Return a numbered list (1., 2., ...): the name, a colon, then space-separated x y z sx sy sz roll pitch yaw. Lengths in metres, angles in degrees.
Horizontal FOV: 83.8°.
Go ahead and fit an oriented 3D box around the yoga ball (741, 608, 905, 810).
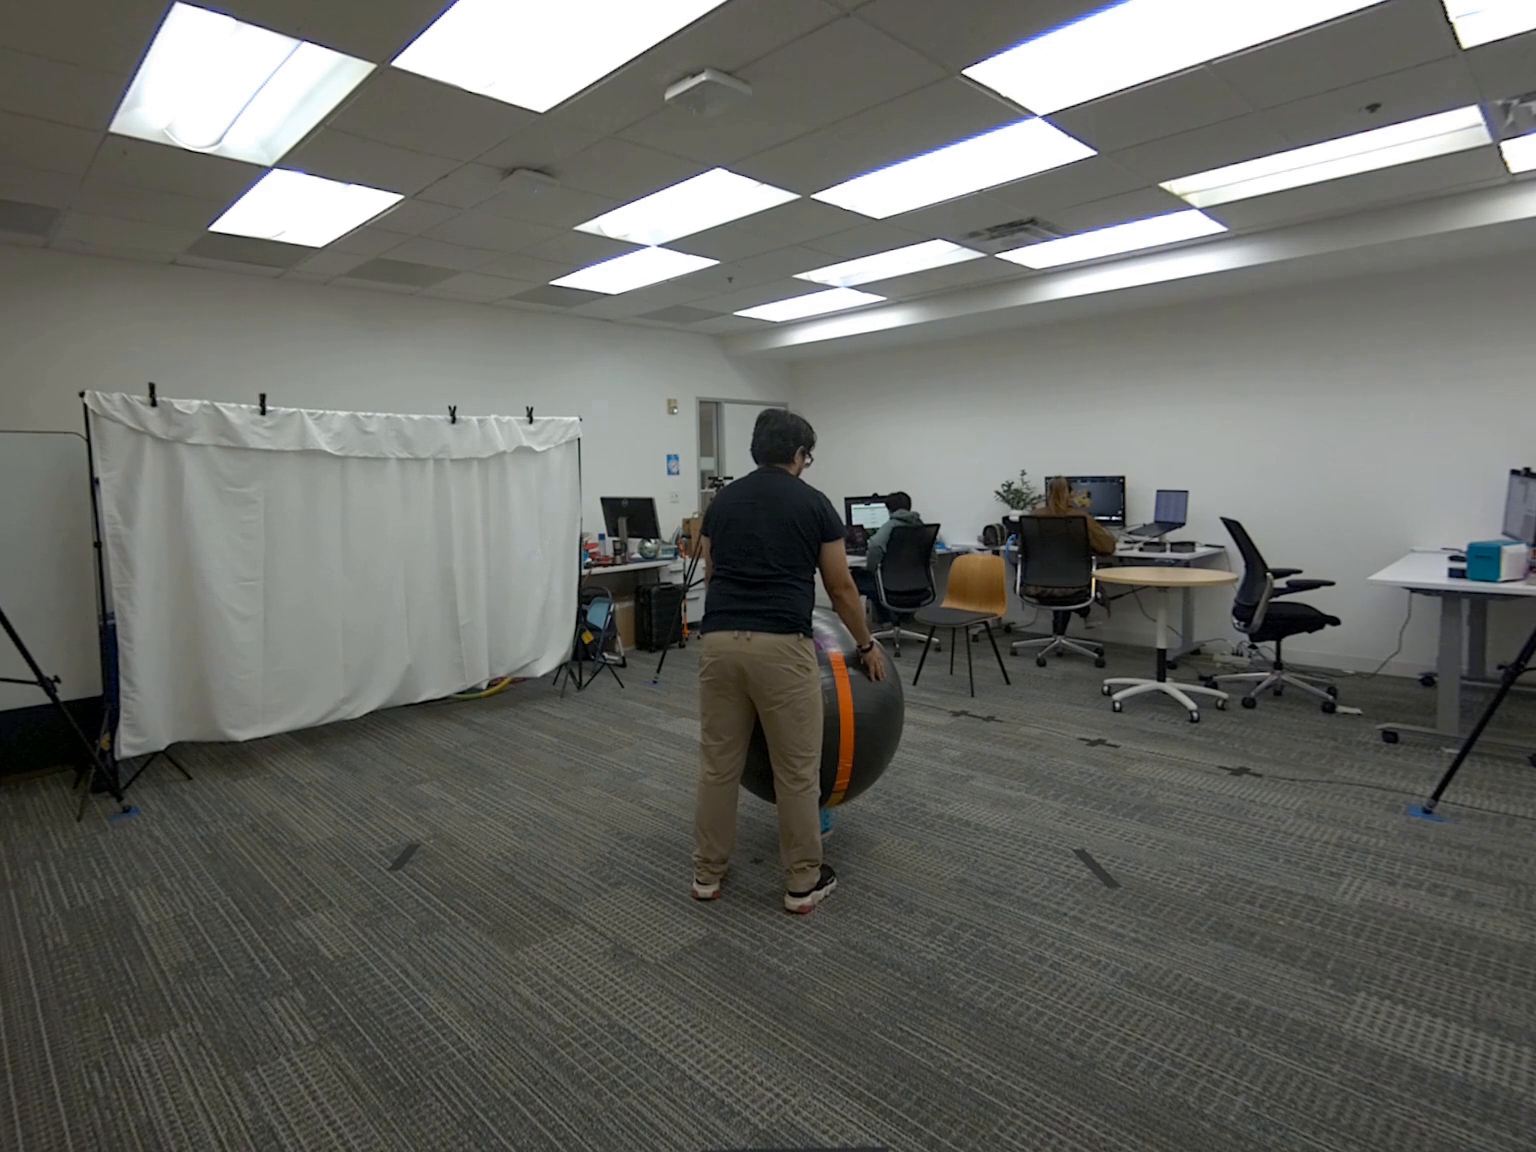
1. yoga ball: 0.145 0.507 3.293 0.757 0.755 0.762 -1 5 -2
